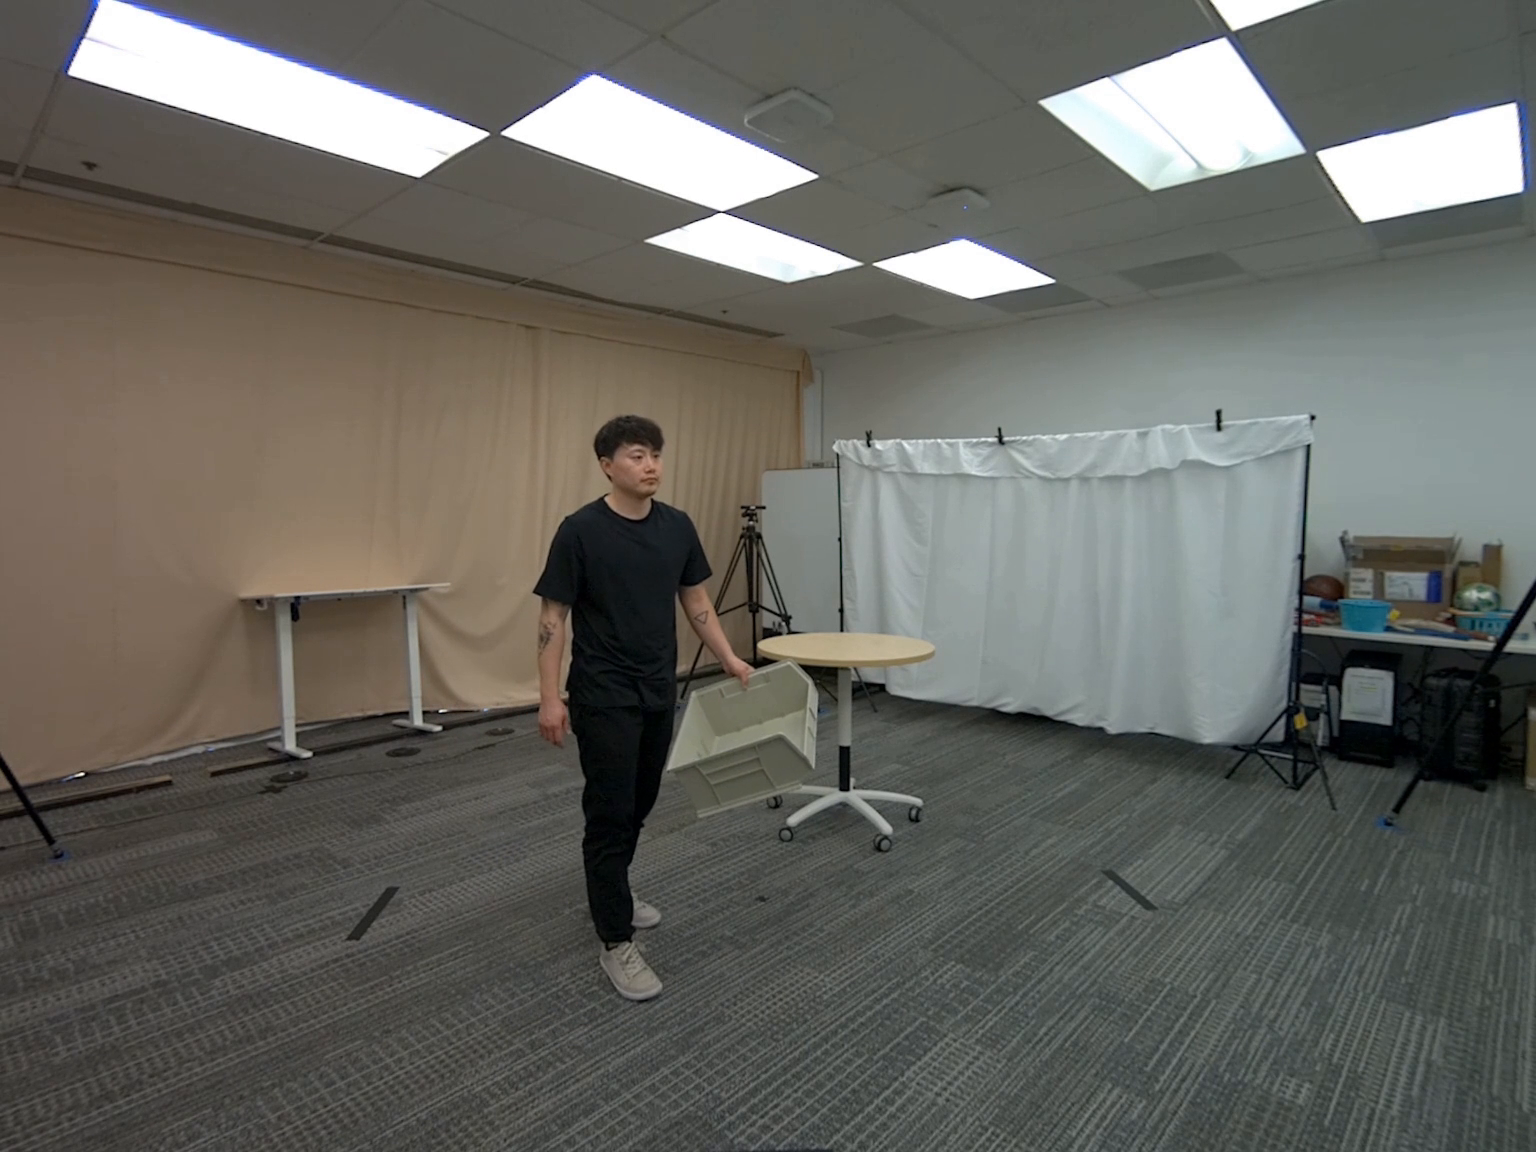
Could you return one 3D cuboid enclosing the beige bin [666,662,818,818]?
[{"bbox_3d":[-0.043,0.460,2.457,0.381,0.186,0.425,-22,18,13],"label":"beige bin"}]
